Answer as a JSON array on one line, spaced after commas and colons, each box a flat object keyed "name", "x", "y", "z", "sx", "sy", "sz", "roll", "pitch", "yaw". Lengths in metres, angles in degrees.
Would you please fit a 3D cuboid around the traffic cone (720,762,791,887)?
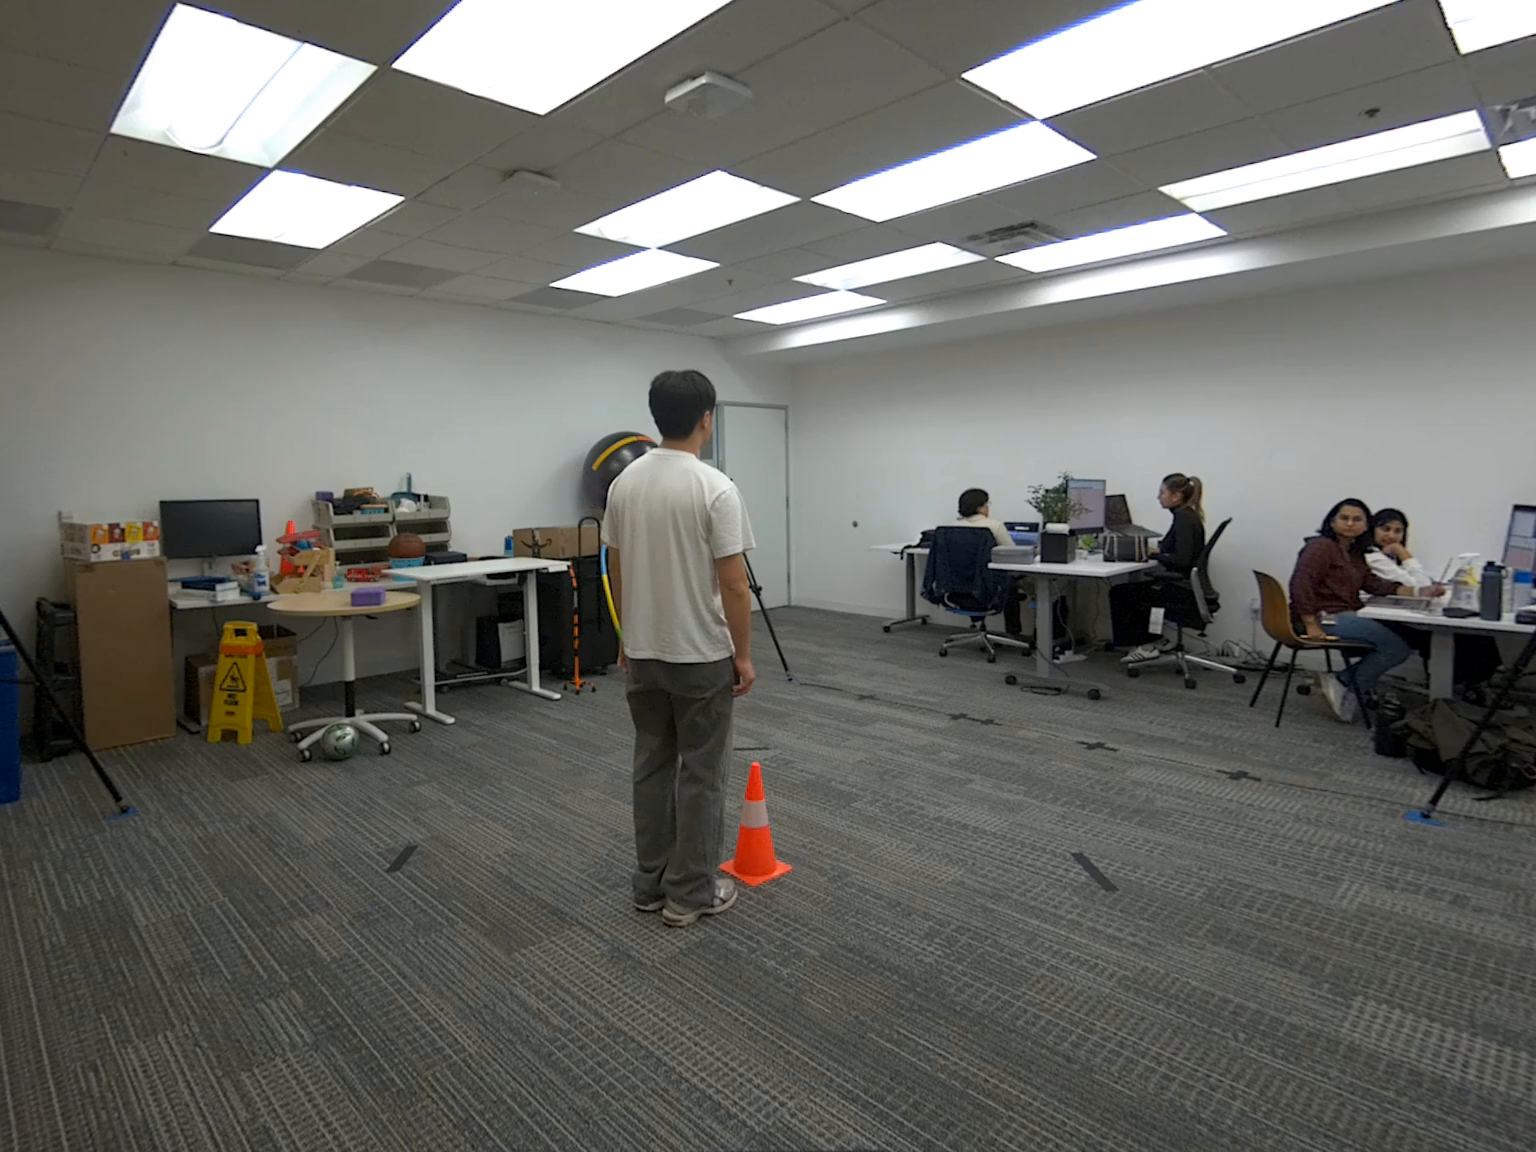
[{"name": "traffic cone", "x": -0.043, "y": 0.866, "z": 3.065, "sx": 0.199, "sy": 0.382, "sz": 0.209, "roll": -3, "pitch": 5, "yaw": -40}]
